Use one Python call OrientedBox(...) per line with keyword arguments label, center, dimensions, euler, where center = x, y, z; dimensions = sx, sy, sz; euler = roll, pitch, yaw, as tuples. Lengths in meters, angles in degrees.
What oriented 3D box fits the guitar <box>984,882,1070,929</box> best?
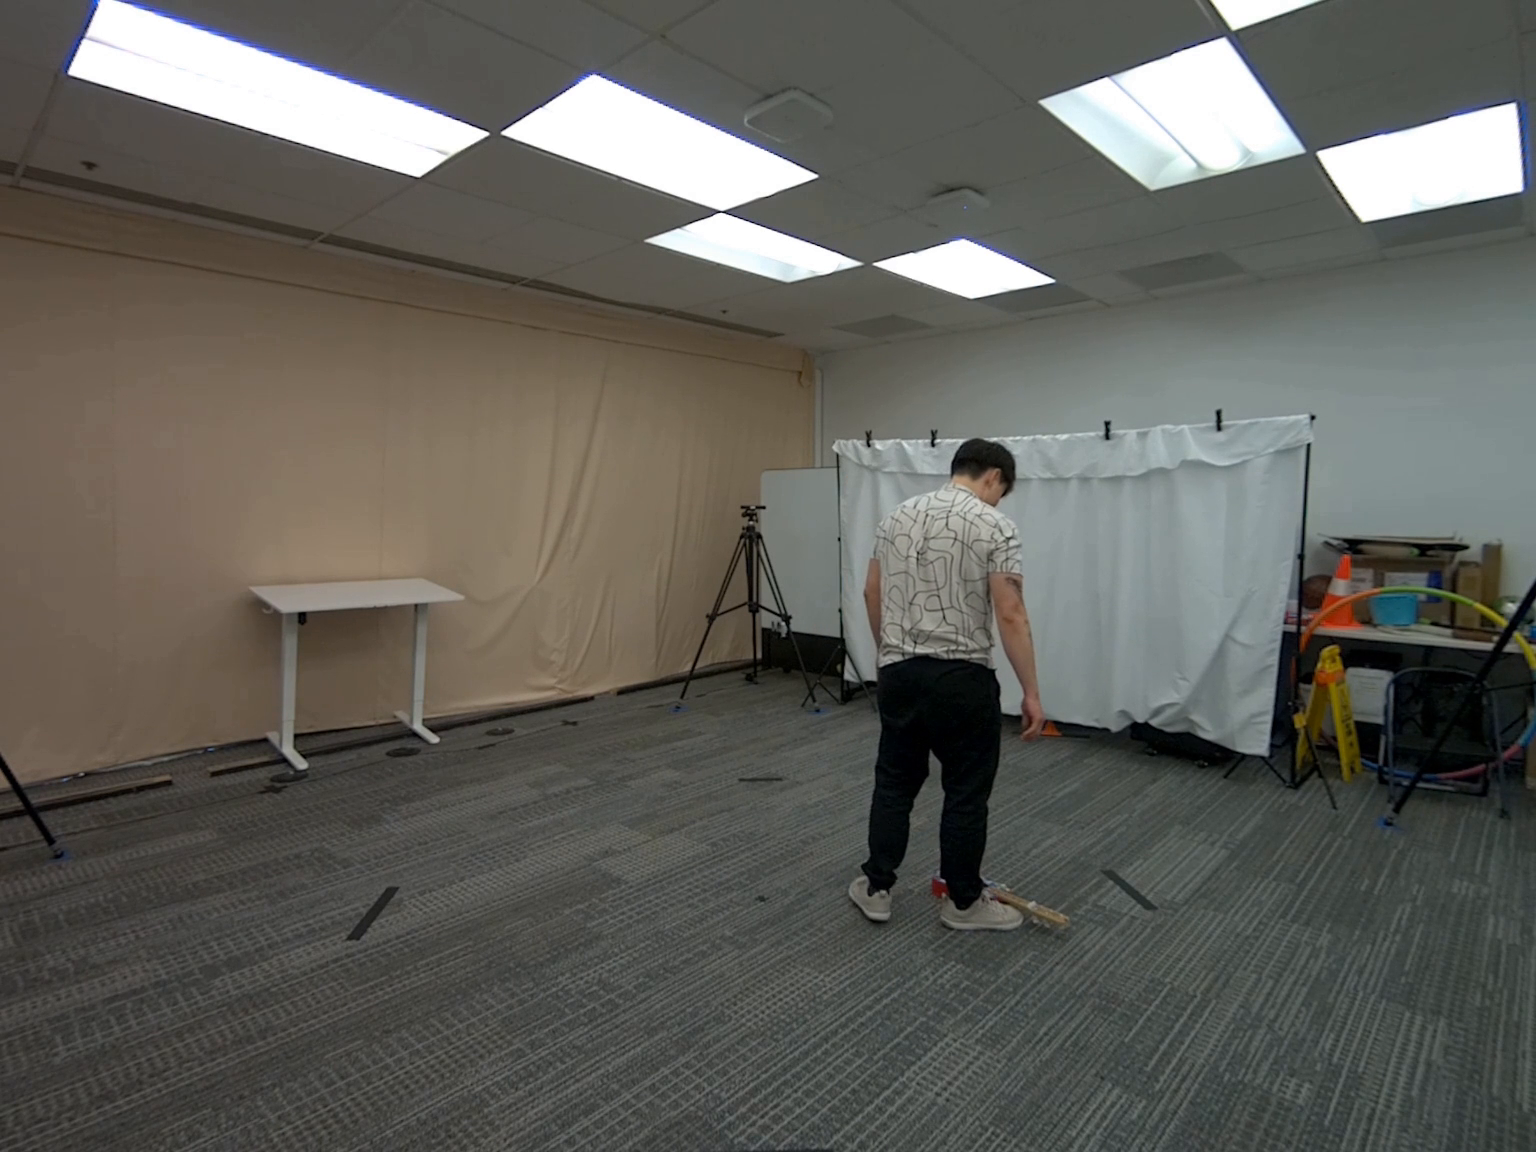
OrientedBox(label="guitar", center=(0.781, 1.116, 2.878), dimensions=(0.188, 0.070, 0.512), euler=(-2, 5, -29))
